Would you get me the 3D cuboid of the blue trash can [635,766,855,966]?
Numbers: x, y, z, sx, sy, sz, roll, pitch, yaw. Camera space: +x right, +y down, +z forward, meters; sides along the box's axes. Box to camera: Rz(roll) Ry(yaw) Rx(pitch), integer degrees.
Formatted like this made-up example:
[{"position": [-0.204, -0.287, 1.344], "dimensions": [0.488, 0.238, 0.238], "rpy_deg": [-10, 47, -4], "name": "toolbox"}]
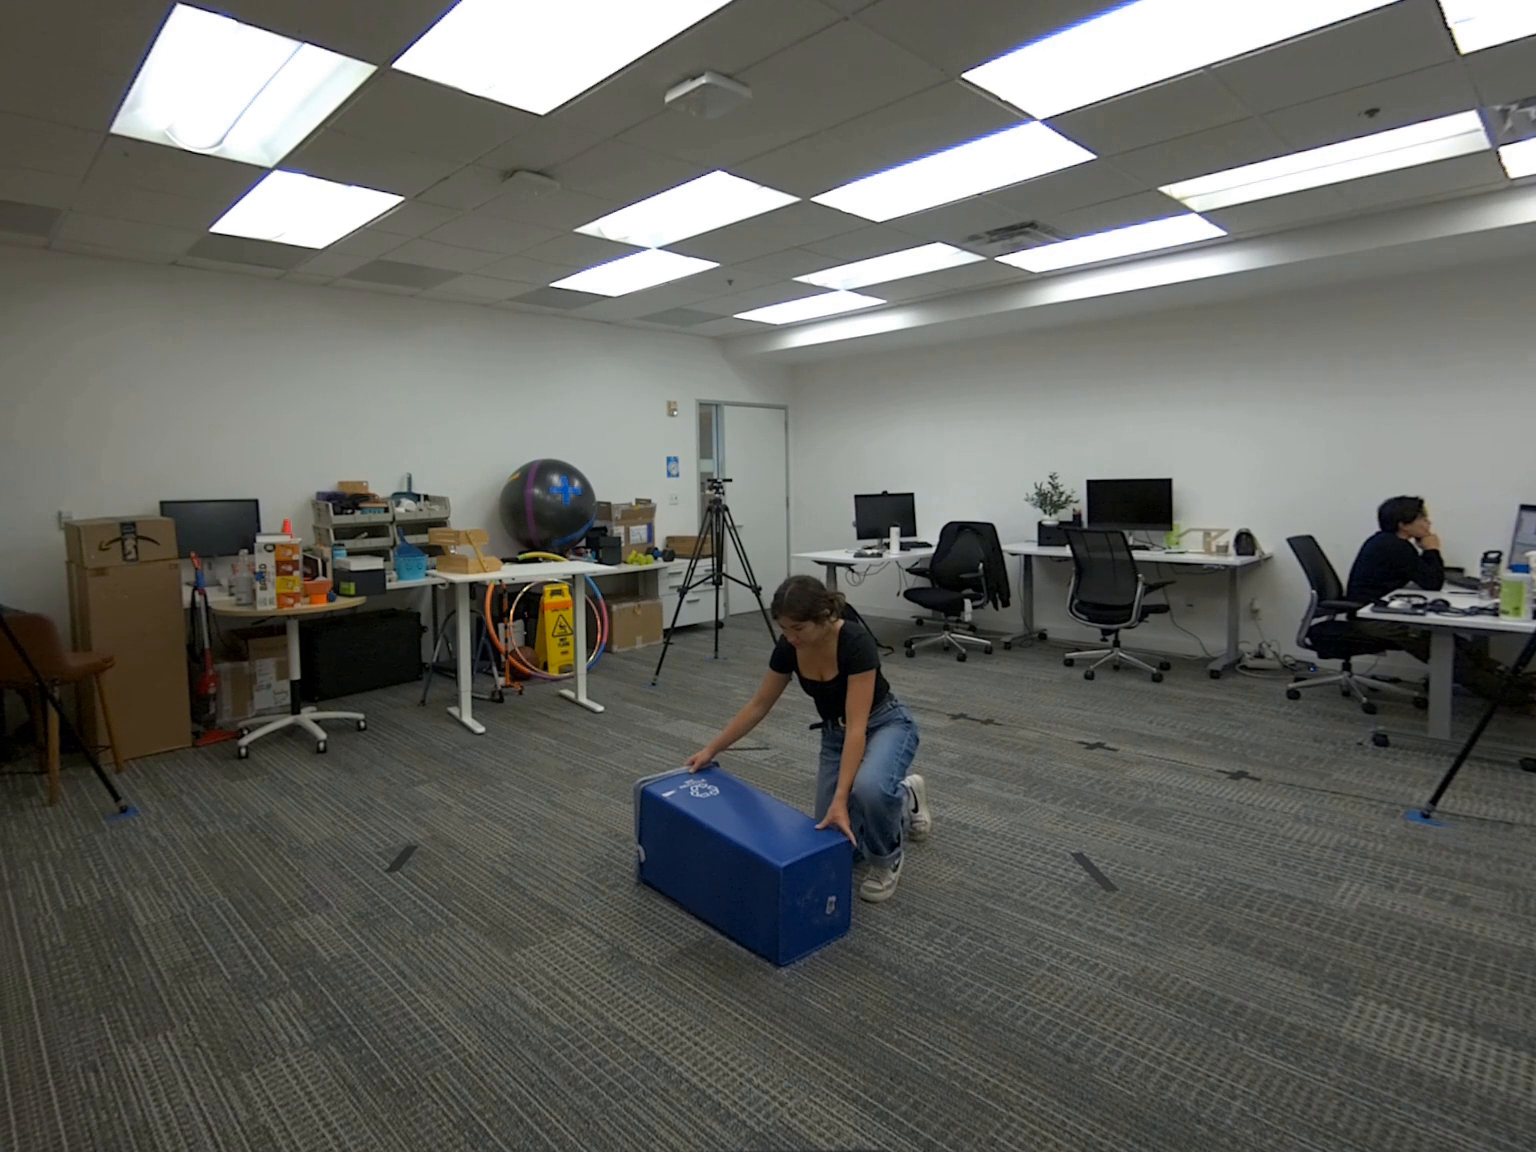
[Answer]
[{"position": [-0.089, 0.918, 2.787], "dimensions": [0.364, 0.376, 0.737], "rpy_deg": [-5, 10, -40], "name": "blue trash can"}]
